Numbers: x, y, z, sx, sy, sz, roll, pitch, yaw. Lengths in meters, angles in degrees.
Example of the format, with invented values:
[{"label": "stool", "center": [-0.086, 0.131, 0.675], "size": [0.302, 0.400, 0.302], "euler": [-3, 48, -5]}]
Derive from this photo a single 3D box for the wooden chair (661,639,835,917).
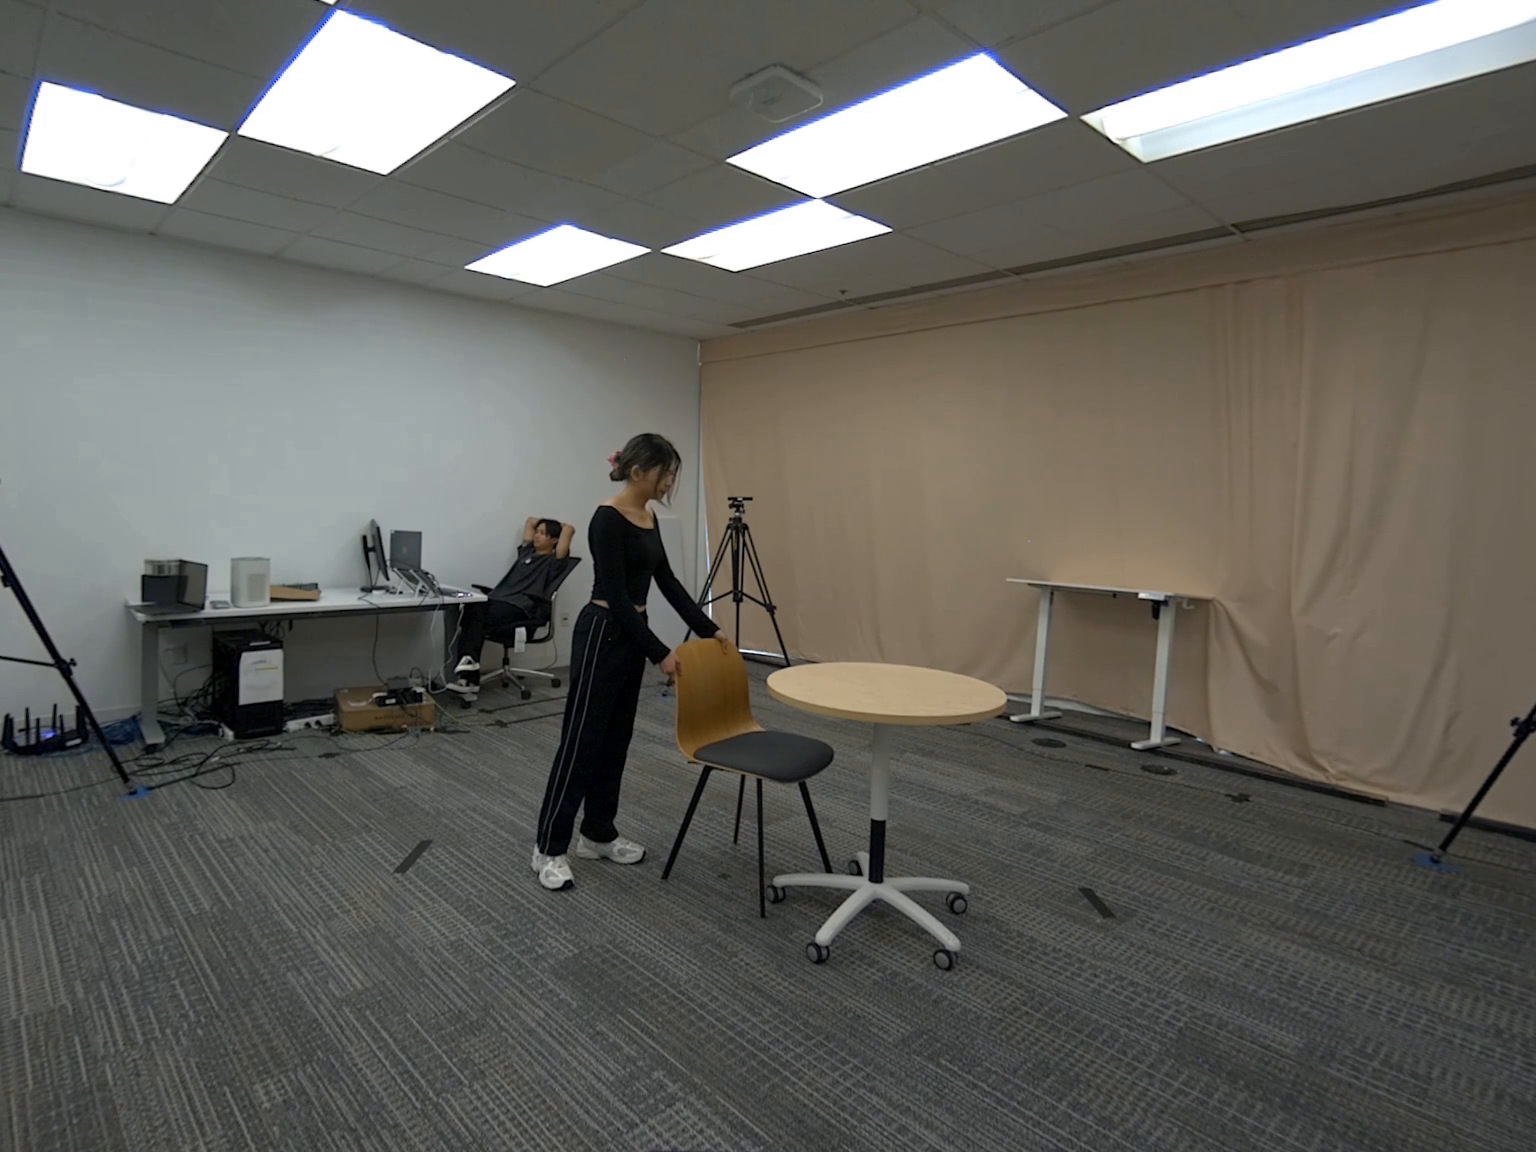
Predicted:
[{"label": "wooden chair", "center": [-0.063, 0.682, 3.073], "size": [0.535, 0.877, 0.468], "euler": [-1, 1, 36]}]
